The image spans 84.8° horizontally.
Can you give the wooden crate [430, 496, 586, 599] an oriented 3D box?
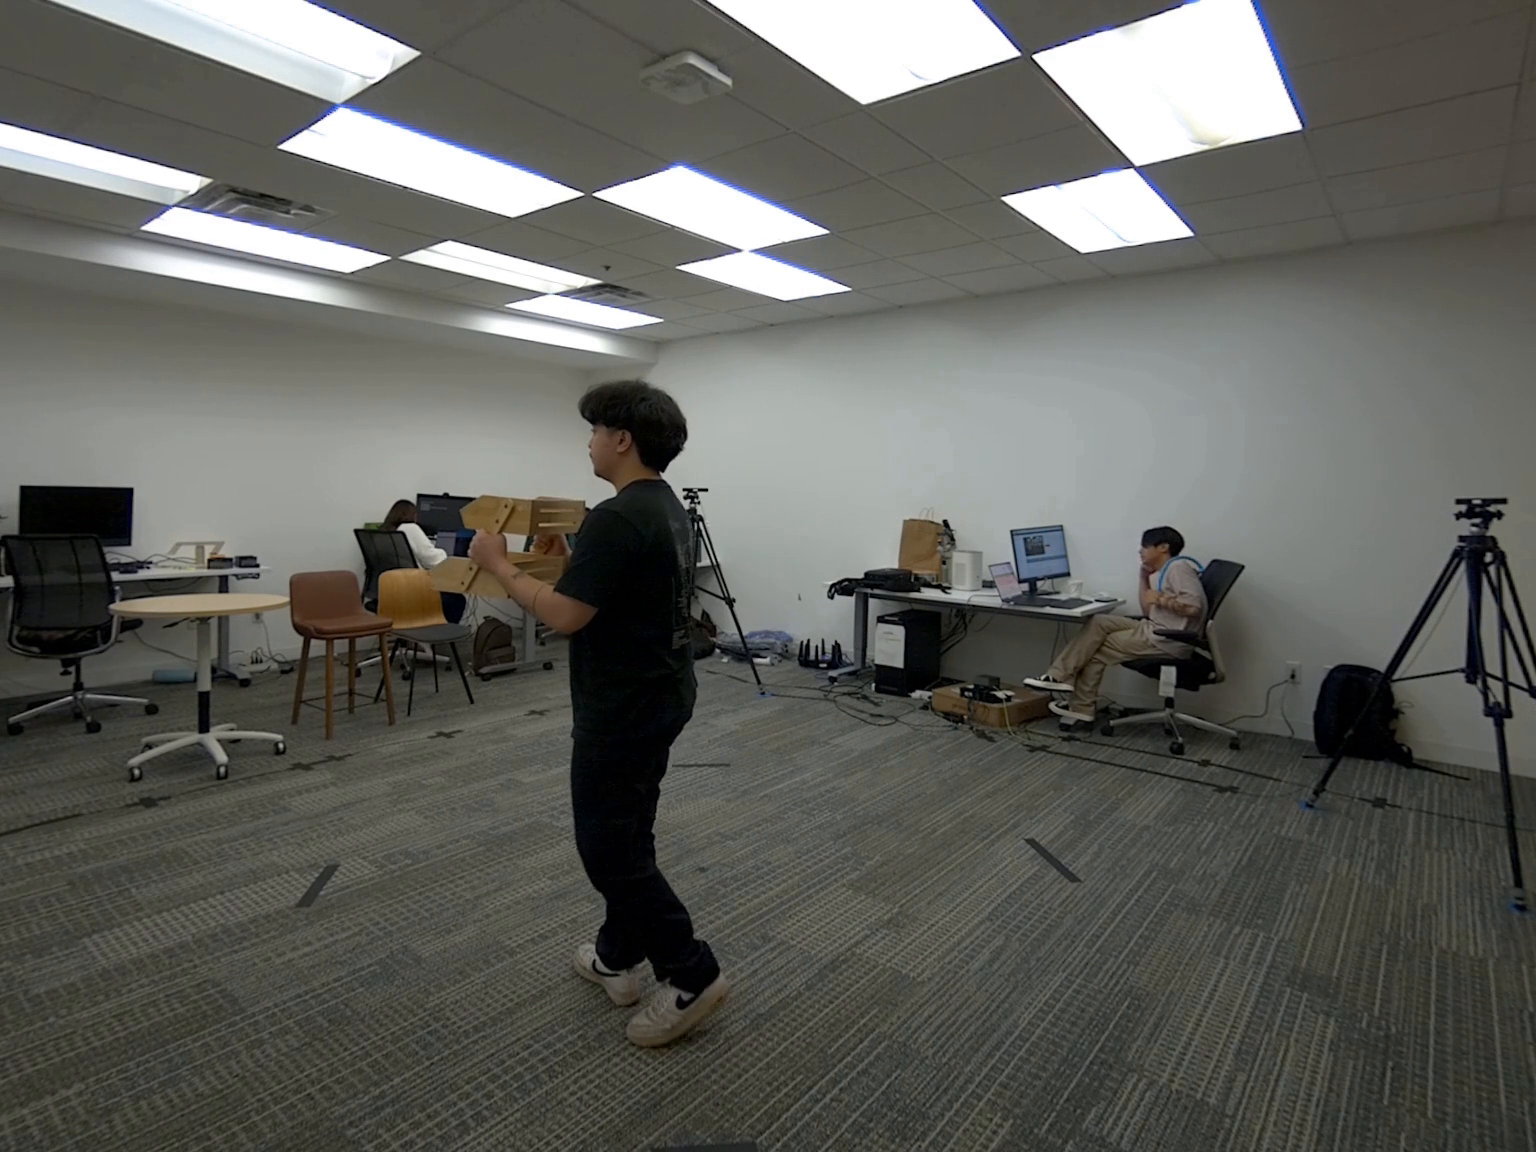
[{"bbox_3d":[-0.723,-0.097,2.334,0.308,0.272,0.319,7,6,16],"label":"wooden crate"}]
